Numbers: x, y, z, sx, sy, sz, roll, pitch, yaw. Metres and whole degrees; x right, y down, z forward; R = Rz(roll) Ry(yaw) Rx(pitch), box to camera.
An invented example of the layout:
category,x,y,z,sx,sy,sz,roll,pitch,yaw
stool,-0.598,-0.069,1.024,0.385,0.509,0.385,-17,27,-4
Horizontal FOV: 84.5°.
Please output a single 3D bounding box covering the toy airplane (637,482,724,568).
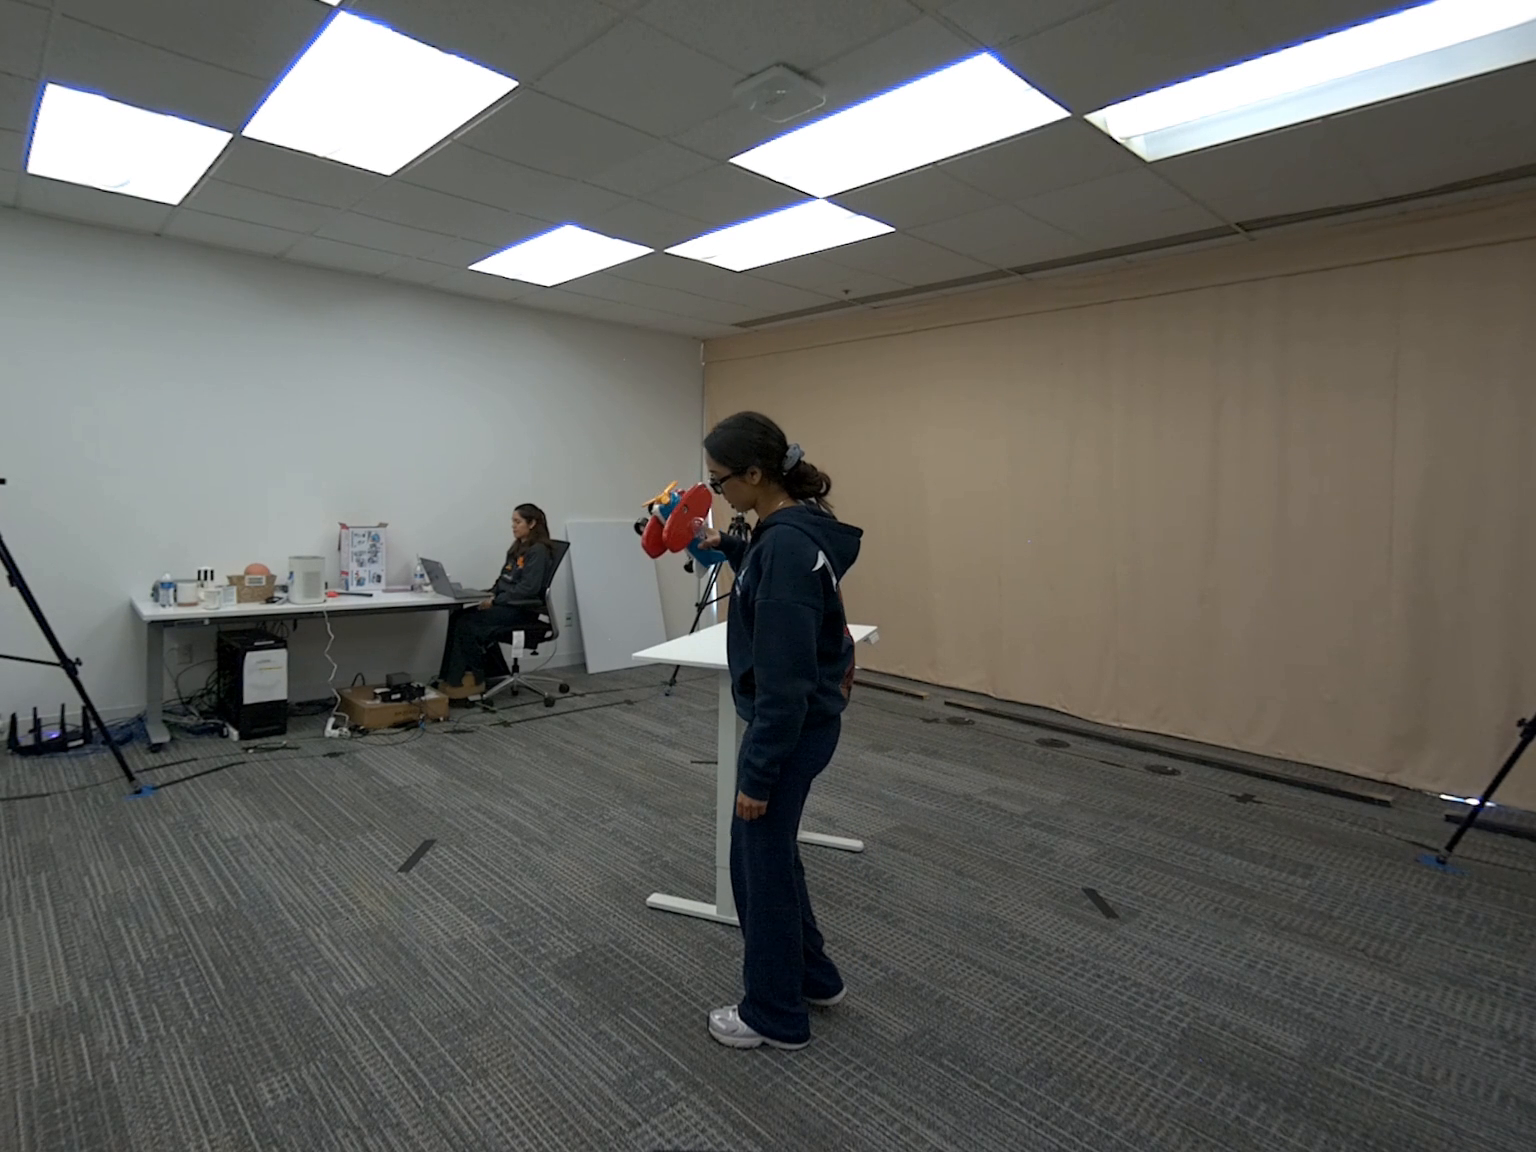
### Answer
category,x,y,z,sx,sy,sz,roll,pitch,yaw
toy airplane,-0.229,-0.128,2.330,0.252,0.256,0.158,22,-35,-33
